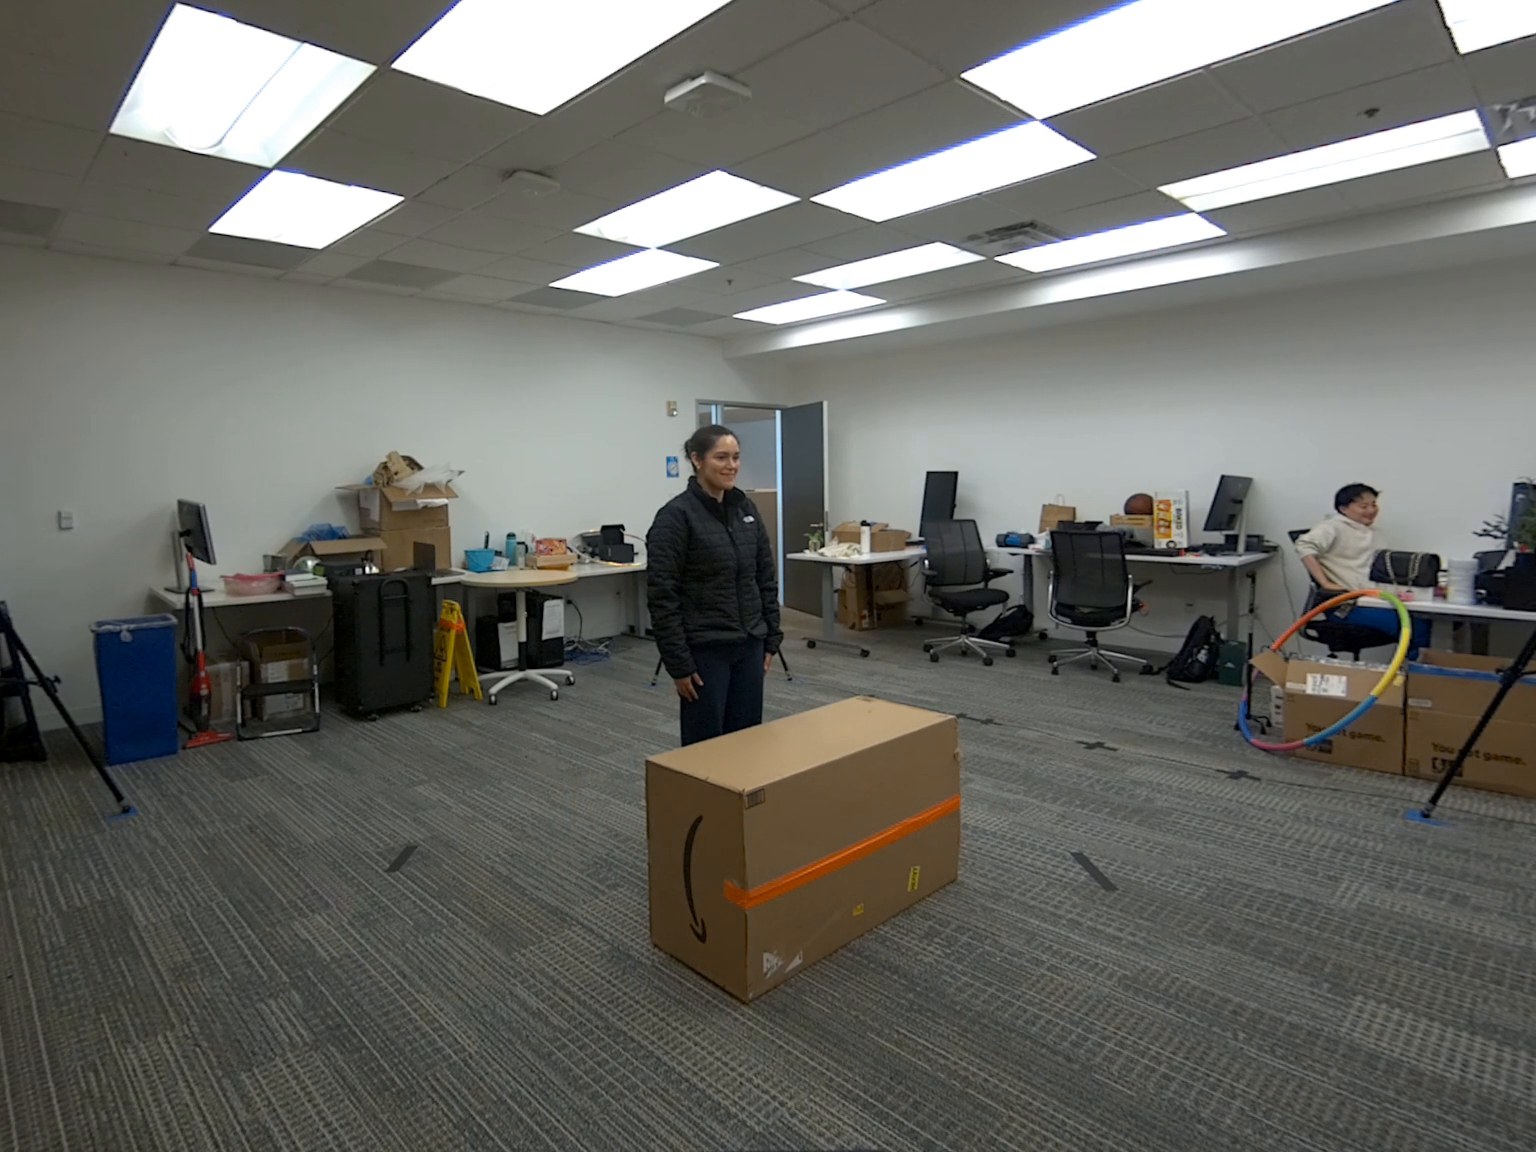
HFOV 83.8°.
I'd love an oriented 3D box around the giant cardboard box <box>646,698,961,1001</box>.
[{"bbox_3d":[0.152,0.796,2.755,1.000,0.582,0.460,-7,6,-43],"label":"giant cardboard box"}]
